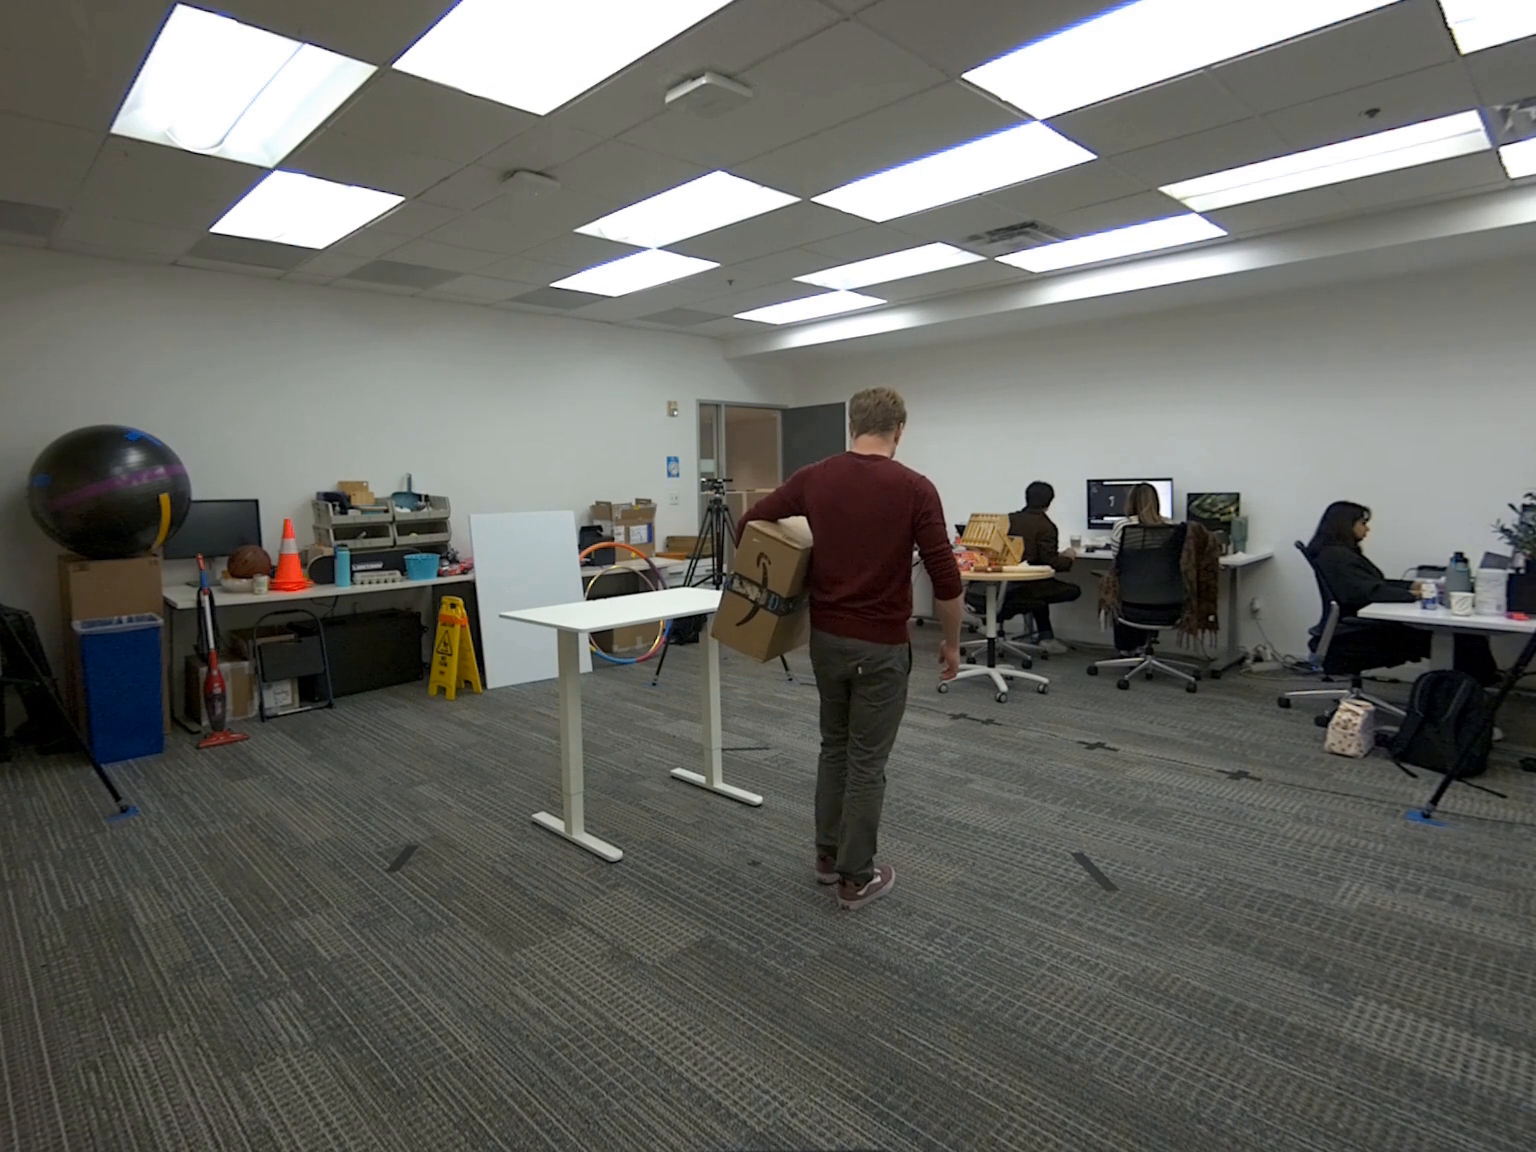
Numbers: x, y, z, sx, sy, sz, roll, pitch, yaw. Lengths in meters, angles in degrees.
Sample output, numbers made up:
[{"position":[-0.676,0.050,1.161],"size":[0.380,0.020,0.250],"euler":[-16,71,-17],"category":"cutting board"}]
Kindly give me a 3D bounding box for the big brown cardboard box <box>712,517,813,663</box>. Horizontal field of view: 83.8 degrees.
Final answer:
[{"position":[0.082,0.028,3.014],"size":[0.240,0.414,0.577],"euler":[25,16,23],"category":"big brown cardboard box"}]
